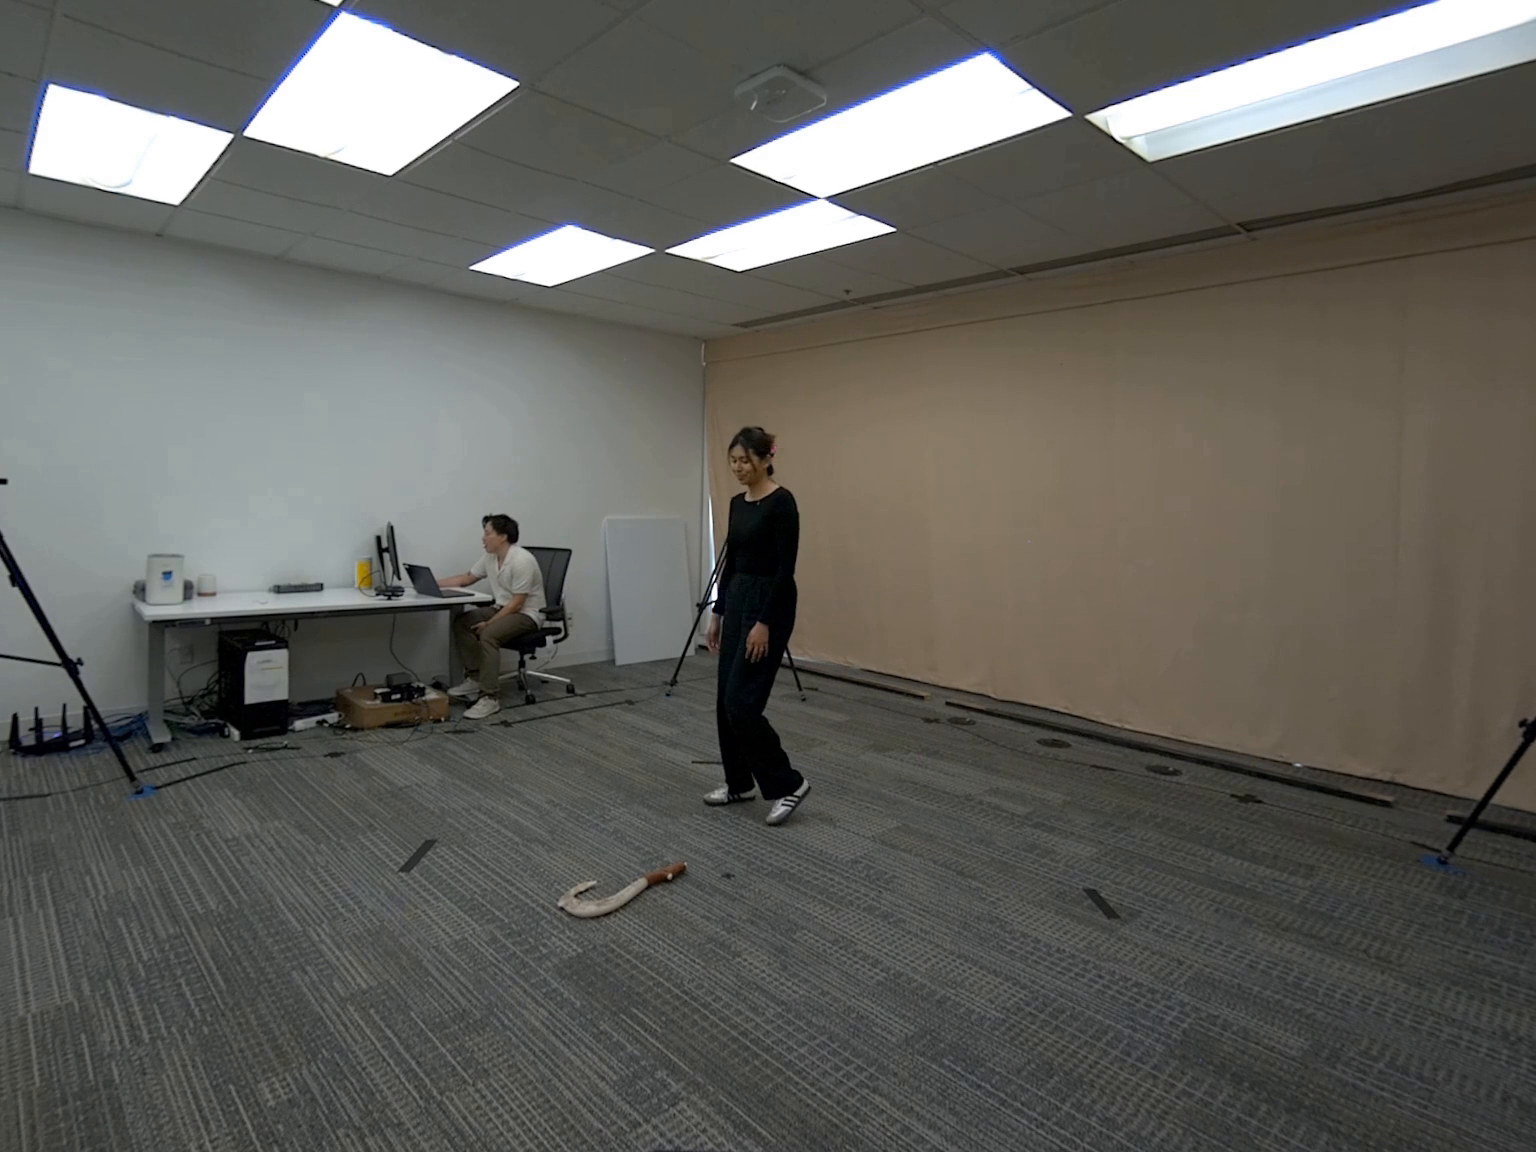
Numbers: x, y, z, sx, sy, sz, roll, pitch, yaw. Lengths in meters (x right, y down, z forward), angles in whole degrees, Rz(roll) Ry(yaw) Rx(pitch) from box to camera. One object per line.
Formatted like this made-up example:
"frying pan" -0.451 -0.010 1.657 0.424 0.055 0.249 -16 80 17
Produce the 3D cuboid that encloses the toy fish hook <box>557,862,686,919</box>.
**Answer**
"toy fish hook" -0.515 1.090 2.974 0.230 0.048 0.495 7 7 40
